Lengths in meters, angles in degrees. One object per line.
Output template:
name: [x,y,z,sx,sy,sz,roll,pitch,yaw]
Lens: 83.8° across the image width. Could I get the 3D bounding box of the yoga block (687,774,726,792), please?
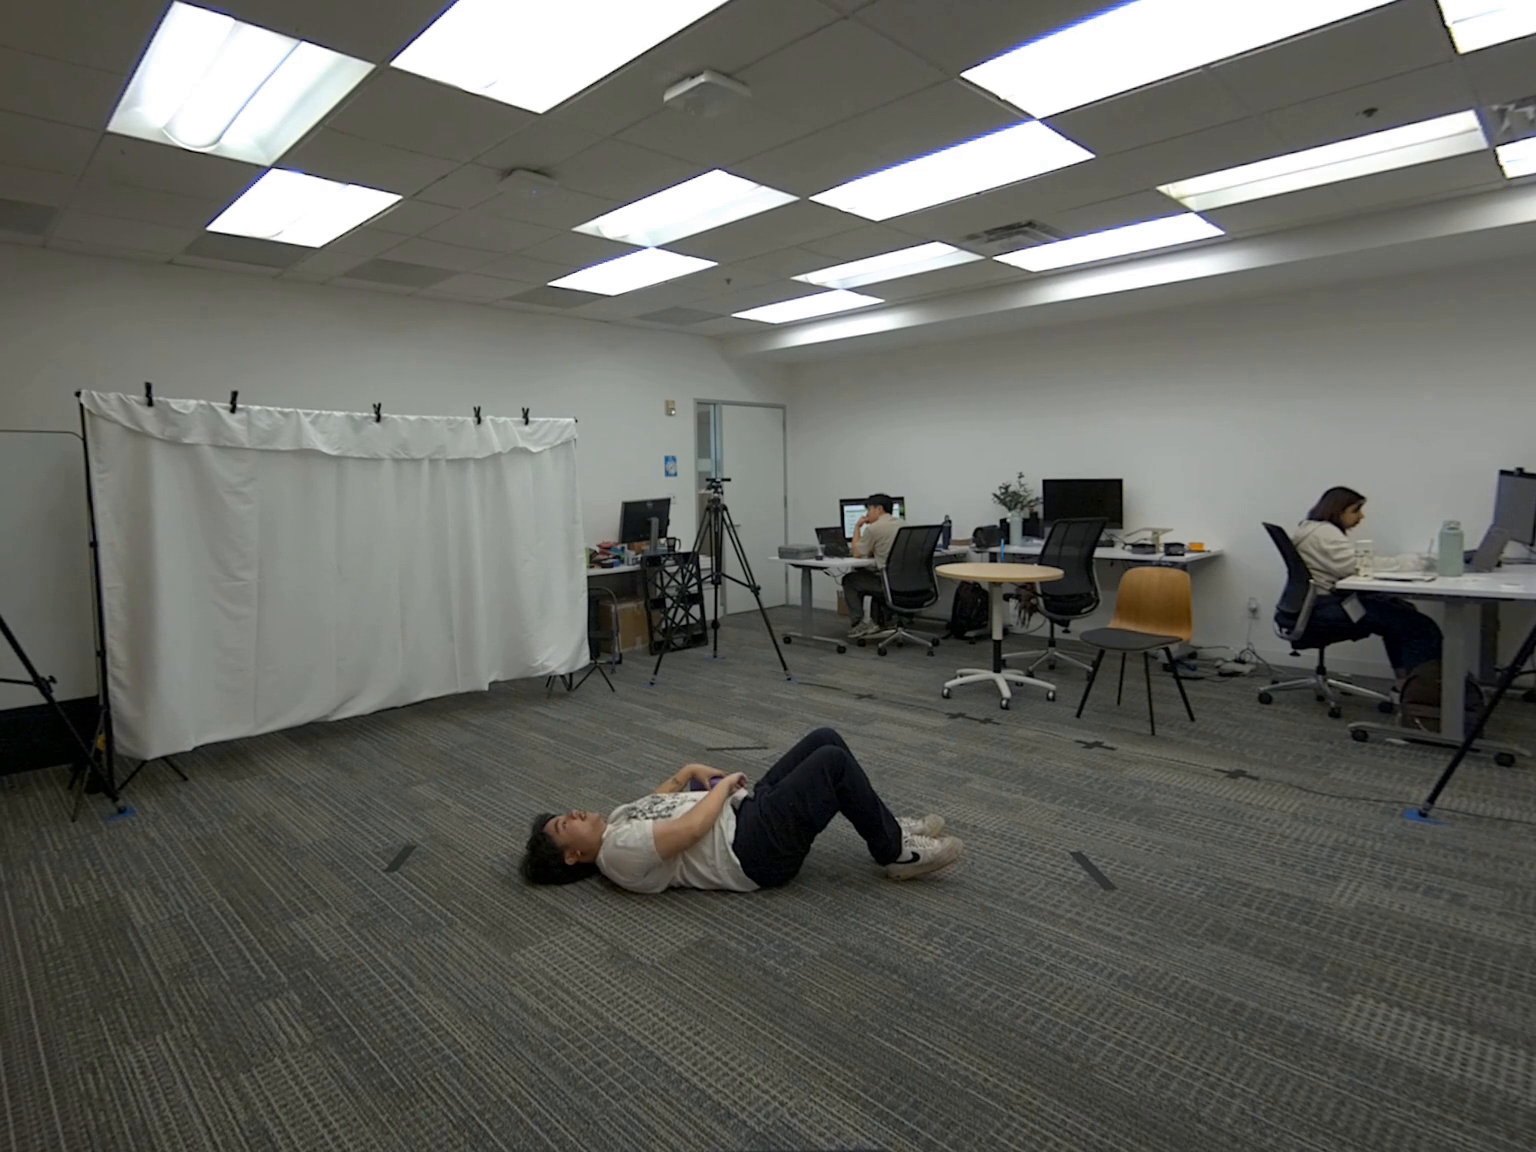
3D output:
yoga block: [-0.225,0.916,3.578,0.074,0.148,0.236,-4,5,-43]
